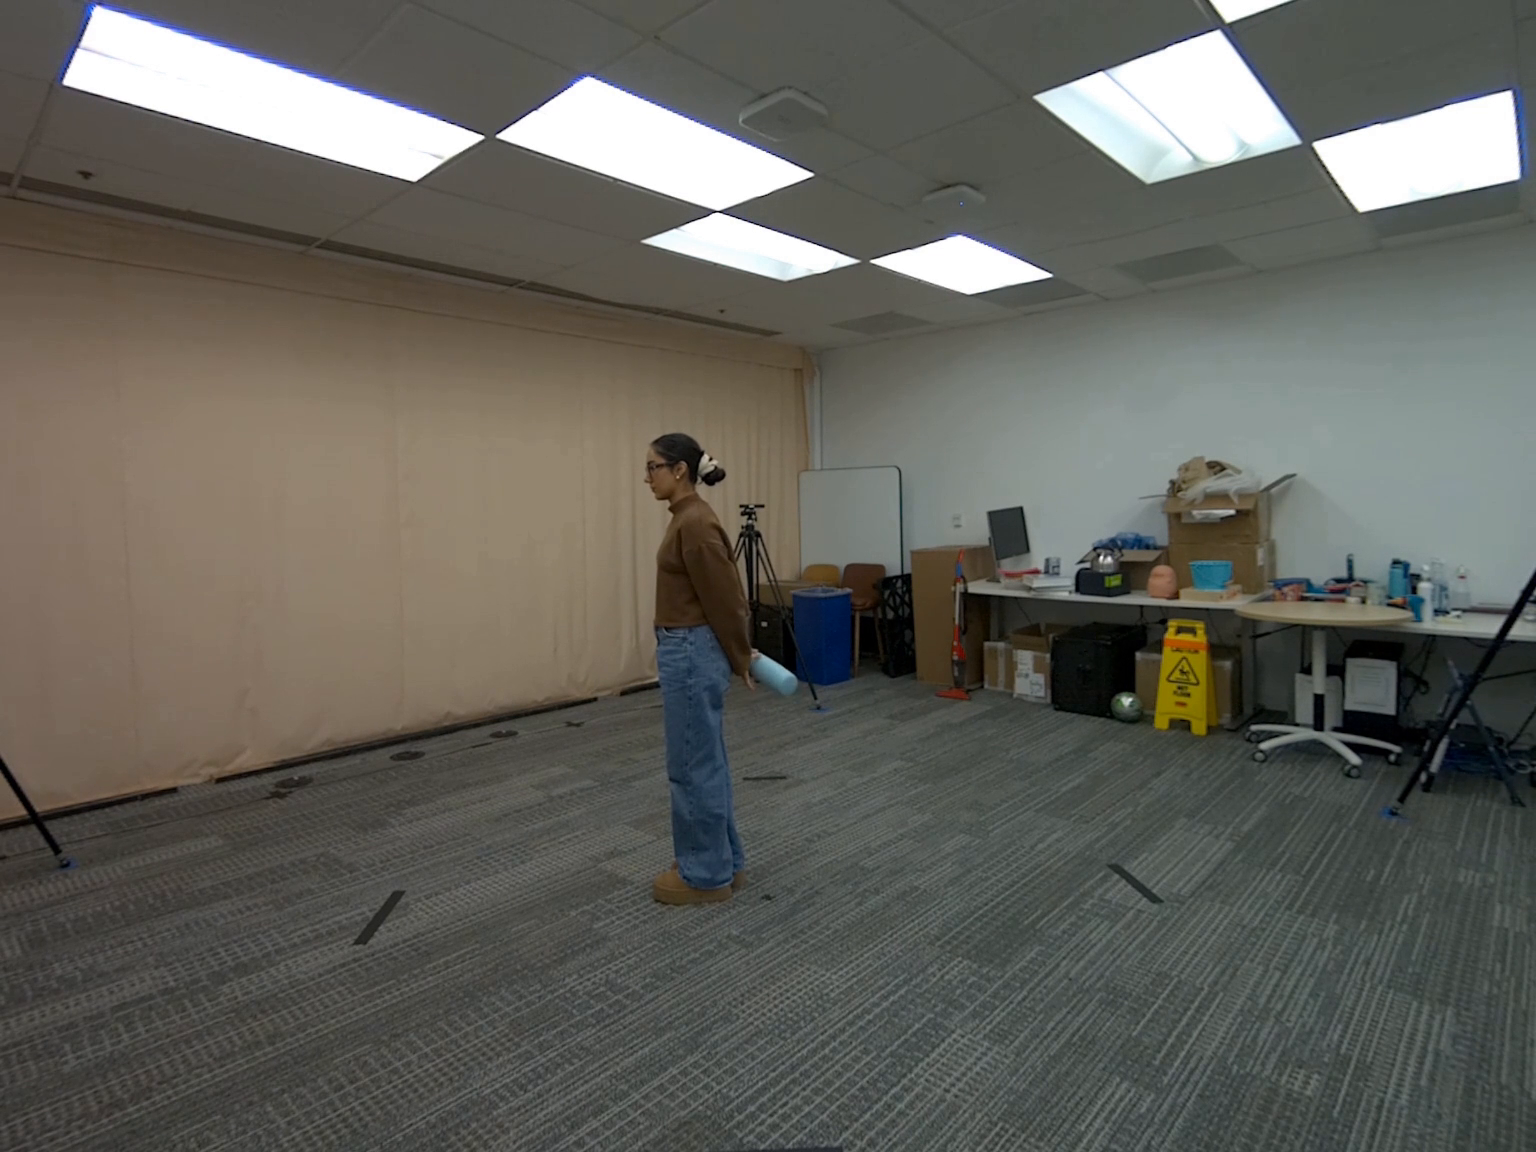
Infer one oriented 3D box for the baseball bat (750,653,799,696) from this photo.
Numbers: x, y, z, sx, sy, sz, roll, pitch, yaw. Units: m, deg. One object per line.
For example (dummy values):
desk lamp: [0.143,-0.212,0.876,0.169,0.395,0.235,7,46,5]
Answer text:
baseball bat: [-0.069,0.310,3.146,0.086,0.088,0.562,-3,19,-32]
